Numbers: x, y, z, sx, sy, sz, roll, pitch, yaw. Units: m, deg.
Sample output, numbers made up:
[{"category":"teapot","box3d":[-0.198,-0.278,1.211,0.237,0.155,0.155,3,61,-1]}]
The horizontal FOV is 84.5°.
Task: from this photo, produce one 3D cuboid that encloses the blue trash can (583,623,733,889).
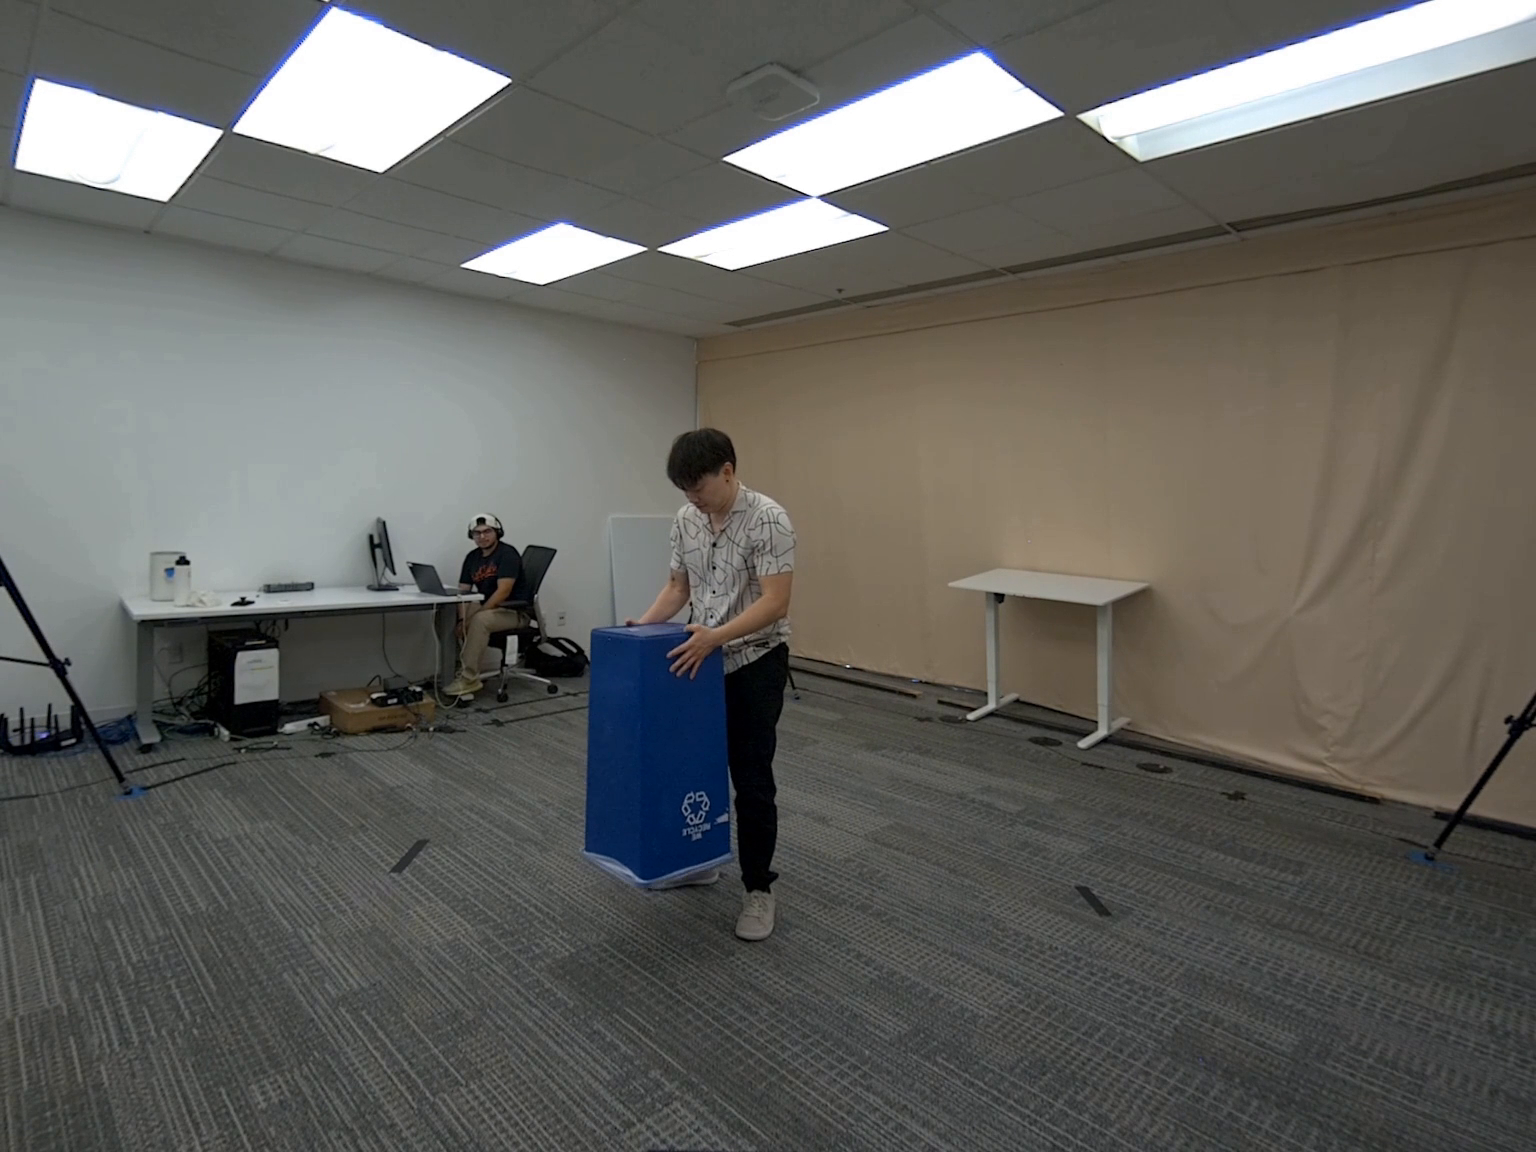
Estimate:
[{"category":"blue trash can","box3d":[-0.351,0.522,2.603,0.369,0.713,0.383,-1,1,-41]}]
